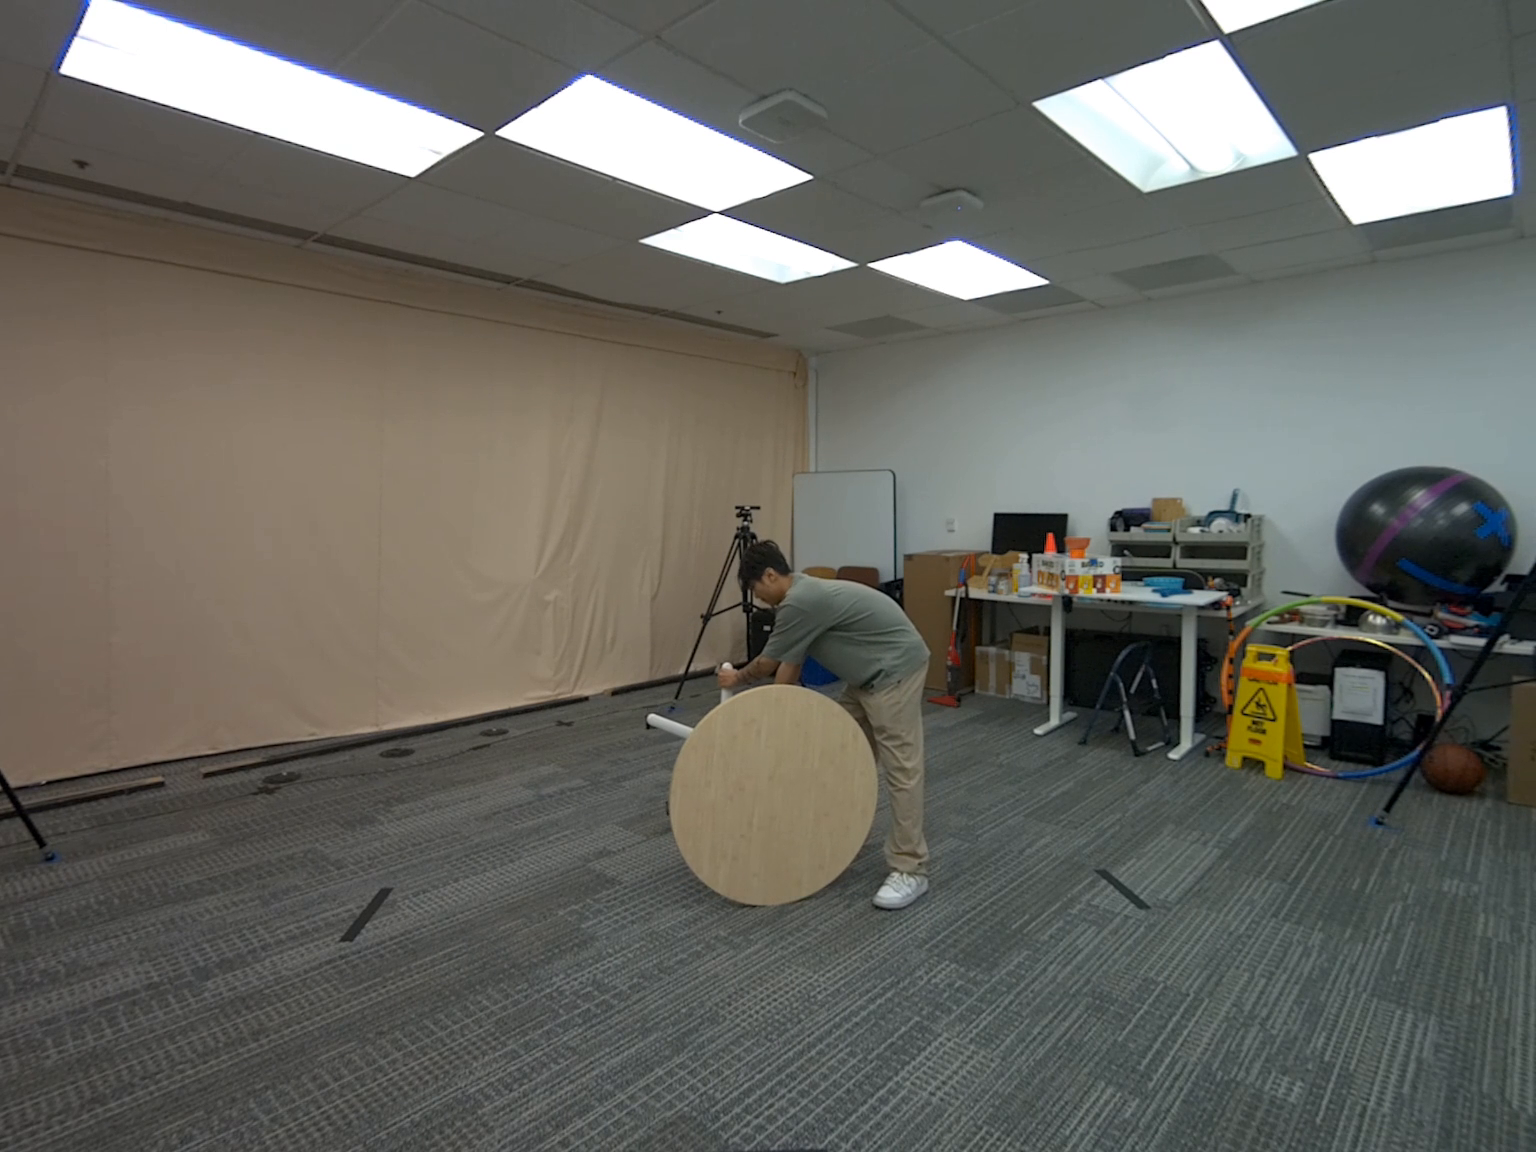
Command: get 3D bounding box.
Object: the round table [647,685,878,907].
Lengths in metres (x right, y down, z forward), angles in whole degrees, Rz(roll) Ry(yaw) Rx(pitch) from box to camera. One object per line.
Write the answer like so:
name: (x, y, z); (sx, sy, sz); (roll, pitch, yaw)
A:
round table: (-0.091, 0.752, 3.319); (0.772, 0.784, 0.800); (-1, 1, -17)
